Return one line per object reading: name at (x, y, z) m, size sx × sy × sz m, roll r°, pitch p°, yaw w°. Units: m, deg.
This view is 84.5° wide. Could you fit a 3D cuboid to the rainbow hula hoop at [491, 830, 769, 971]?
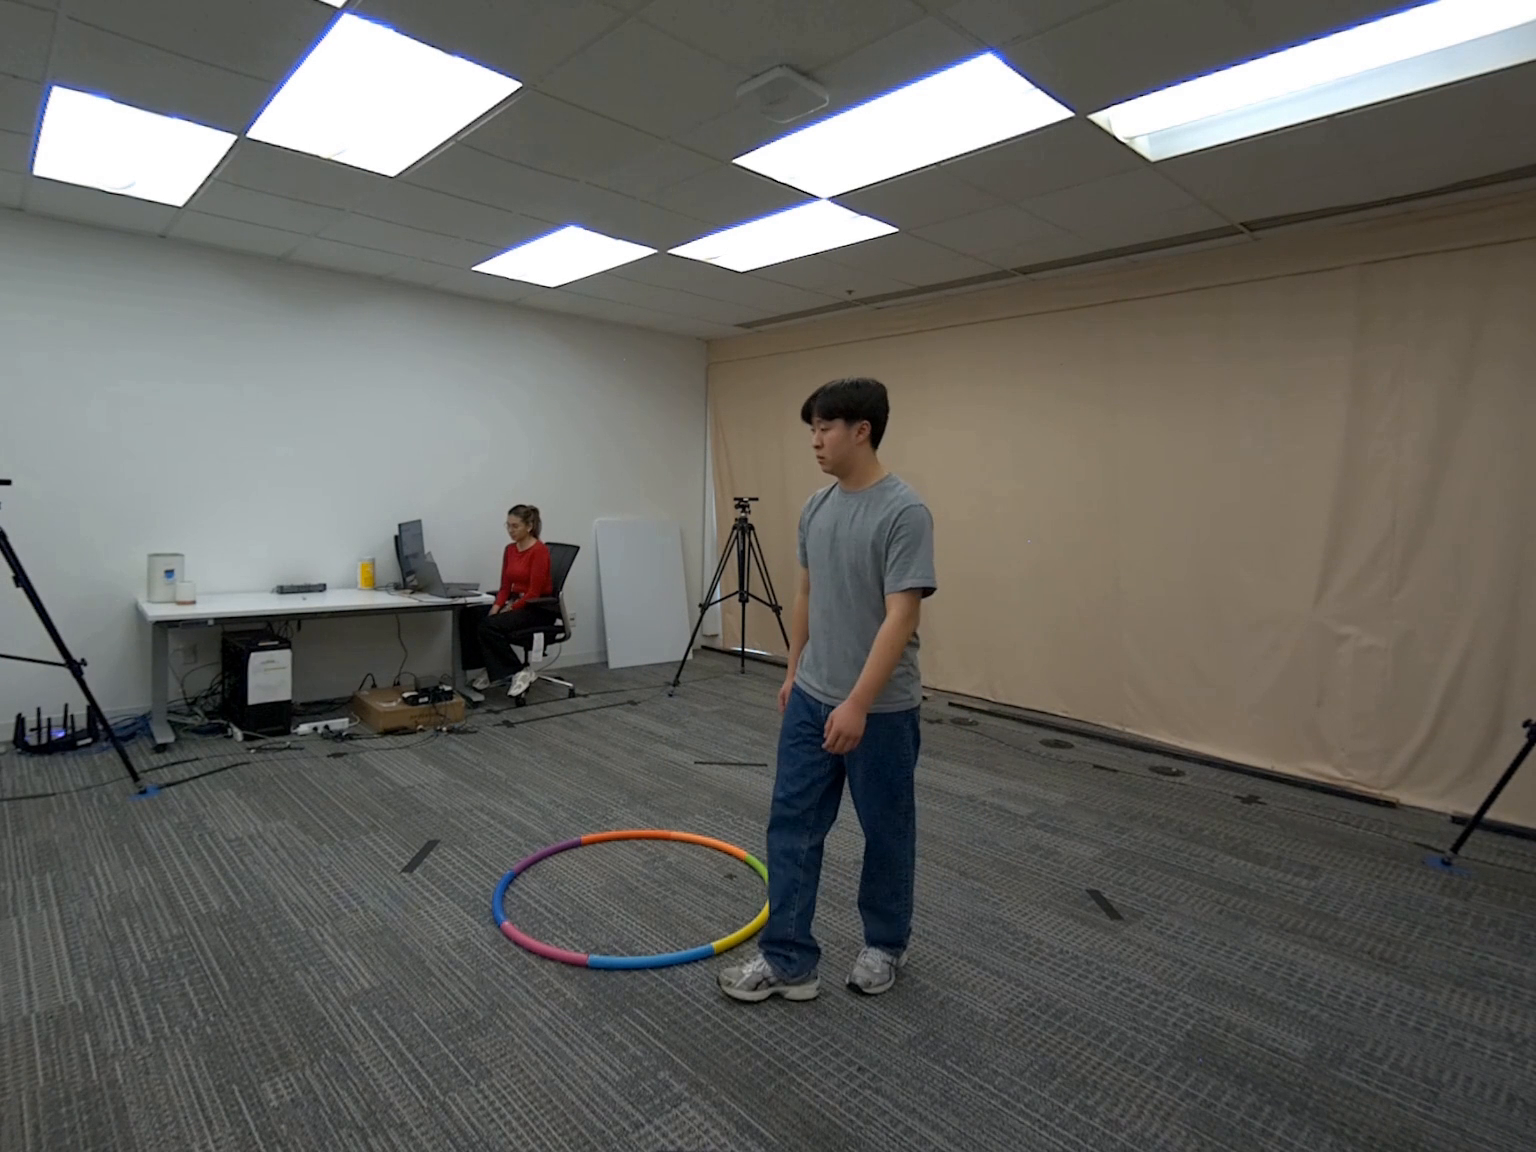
rainbow hula hoop at (-0.464, 1.083, 2.958) m, size 0.978 × 0.035 × 0.982 m, roll 1°, pitch 5°, yaw -1°
